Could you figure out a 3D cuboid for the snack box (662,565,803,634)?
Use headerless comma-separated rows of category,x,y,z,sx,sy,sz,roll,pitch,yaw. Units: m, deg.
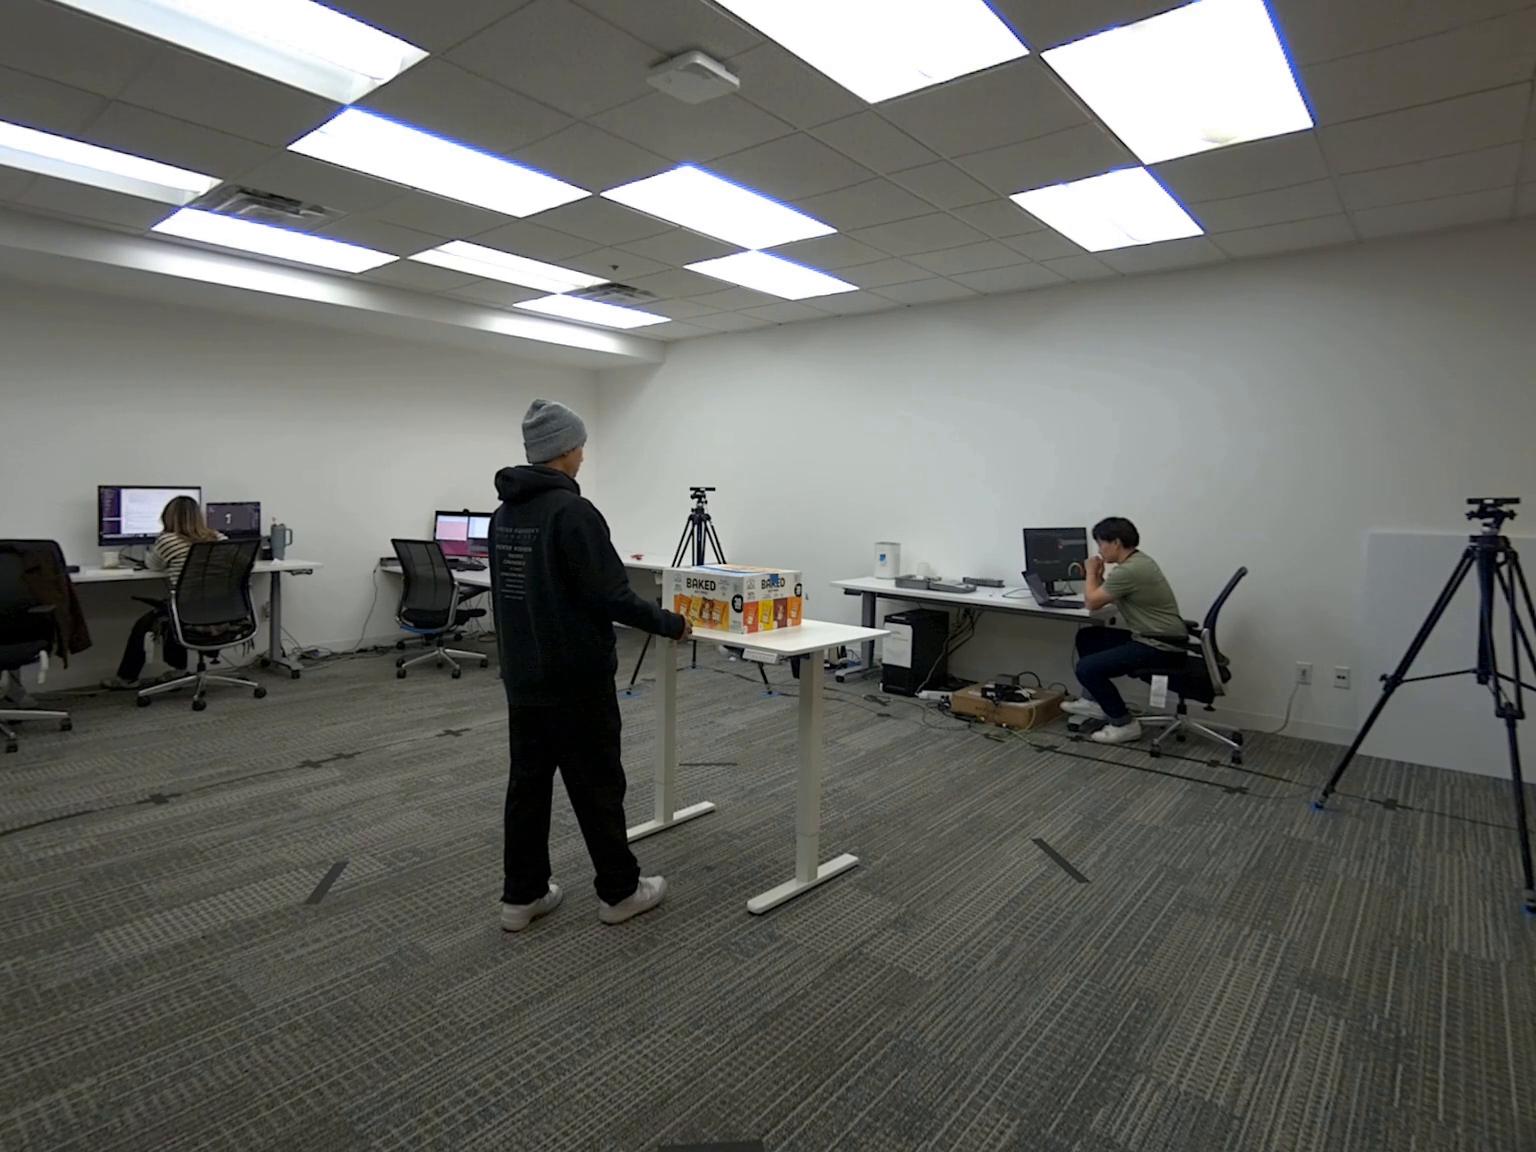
snack box,-0.145,0.074,3.209,0.419,0.205,0.330,5,5,40
